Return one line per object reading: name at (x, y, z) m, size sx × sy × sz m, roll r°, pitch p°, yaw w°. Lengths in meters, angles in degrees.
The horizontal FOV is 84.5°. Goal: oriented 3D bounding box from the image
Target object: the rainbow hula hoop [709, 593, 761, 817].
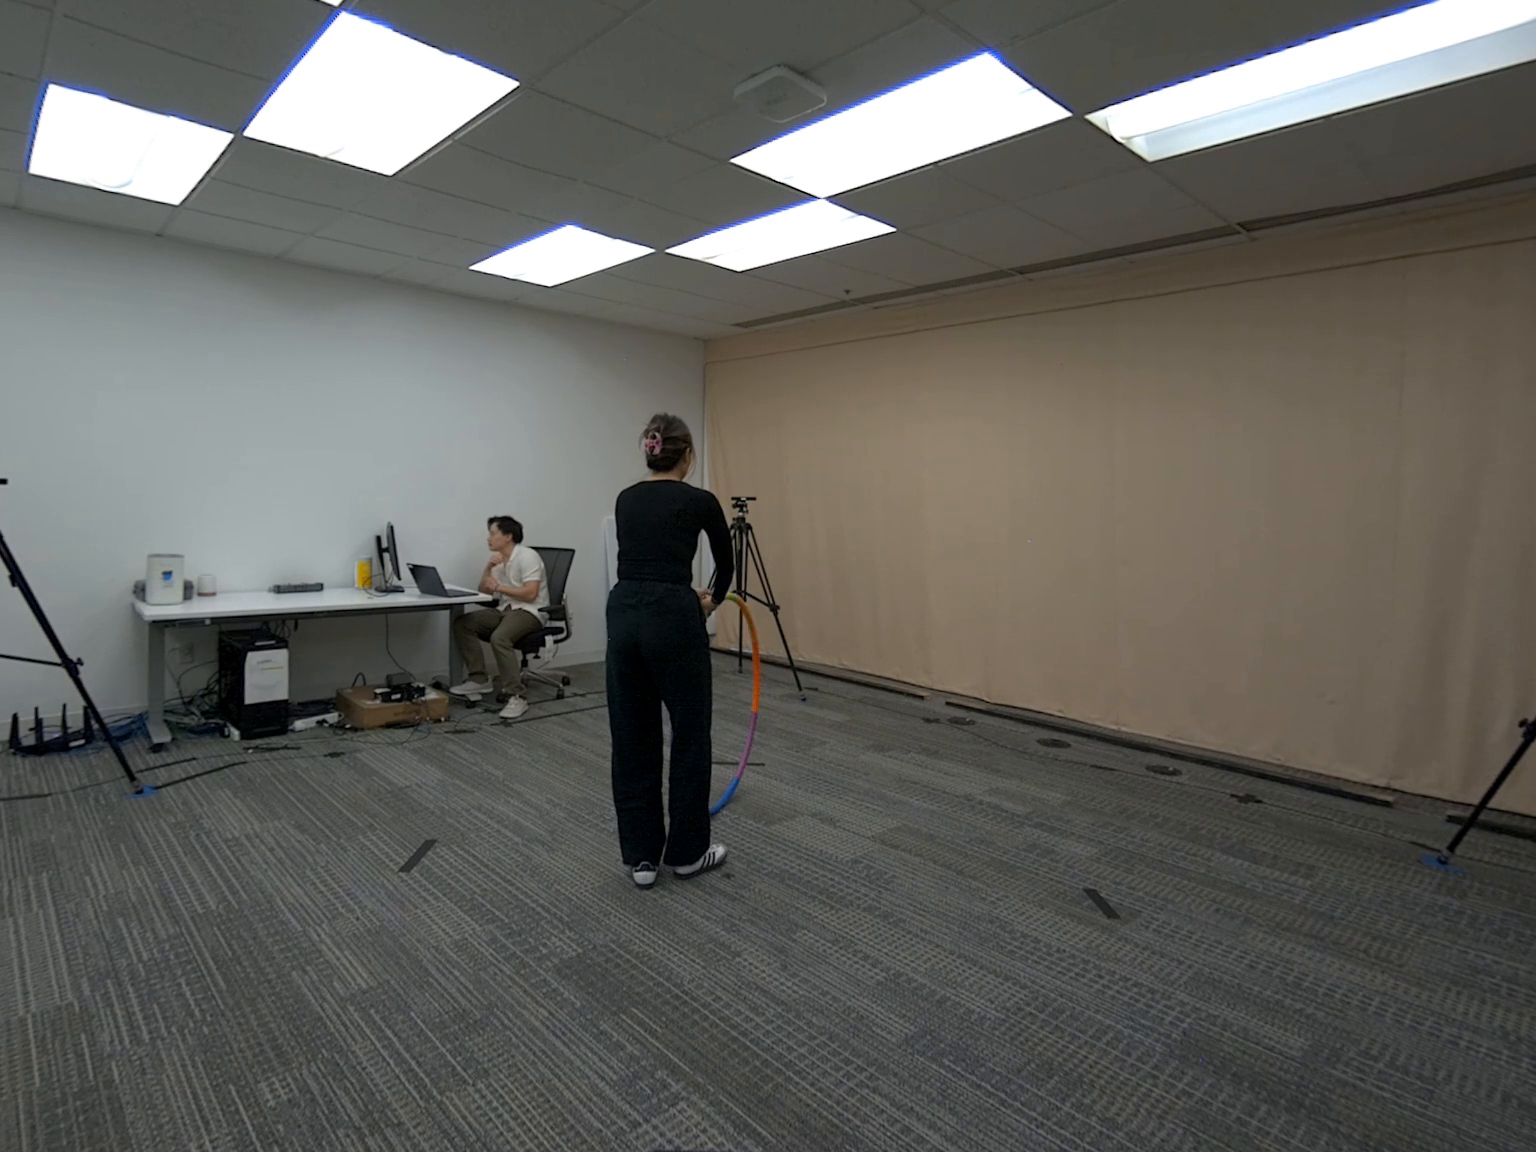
rainbow hula hoop at (-0.215, 0.567, 3.757) m, size 0.036 × 0.976 × 0.967 m, roll 2°, pitch 4°, yaw 16°
